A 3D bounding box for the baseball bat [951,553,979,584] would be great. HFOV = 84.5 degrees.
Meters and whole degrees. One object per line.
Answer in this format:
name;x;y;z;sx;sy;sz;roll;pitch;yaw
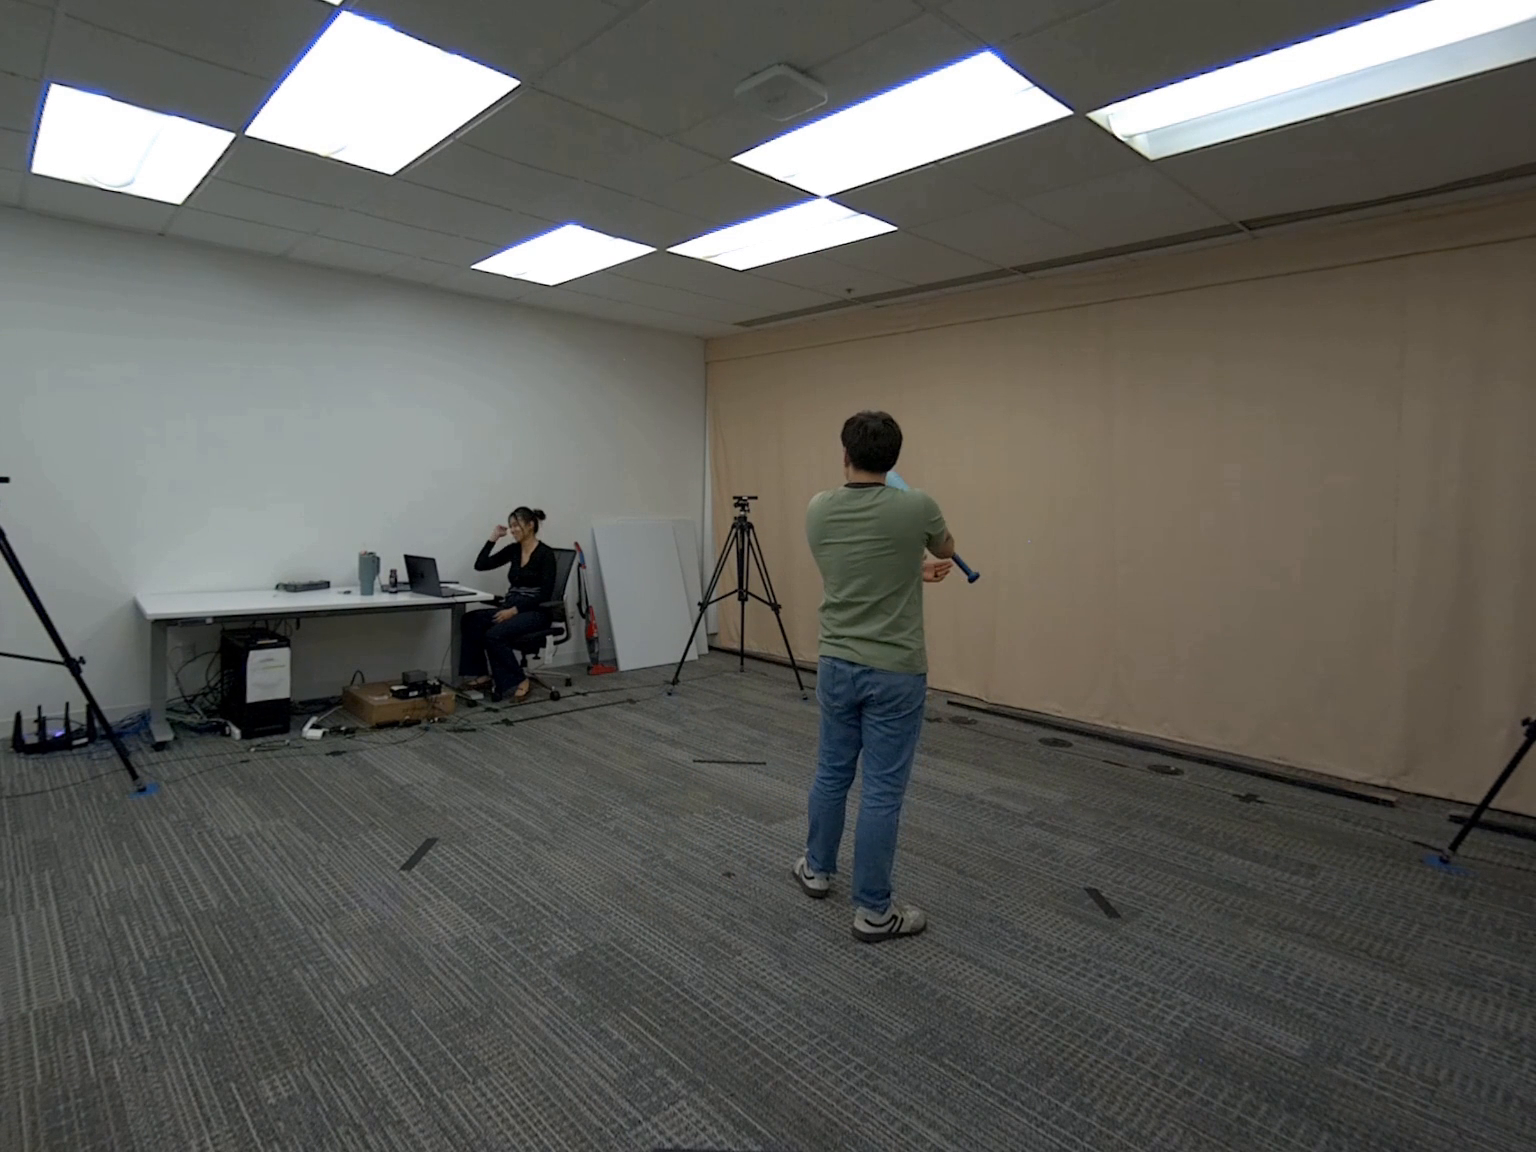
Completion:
baseball bat;0.600;-0.187;3.202;0.089;0.554;0.087;-32;-20;-14
